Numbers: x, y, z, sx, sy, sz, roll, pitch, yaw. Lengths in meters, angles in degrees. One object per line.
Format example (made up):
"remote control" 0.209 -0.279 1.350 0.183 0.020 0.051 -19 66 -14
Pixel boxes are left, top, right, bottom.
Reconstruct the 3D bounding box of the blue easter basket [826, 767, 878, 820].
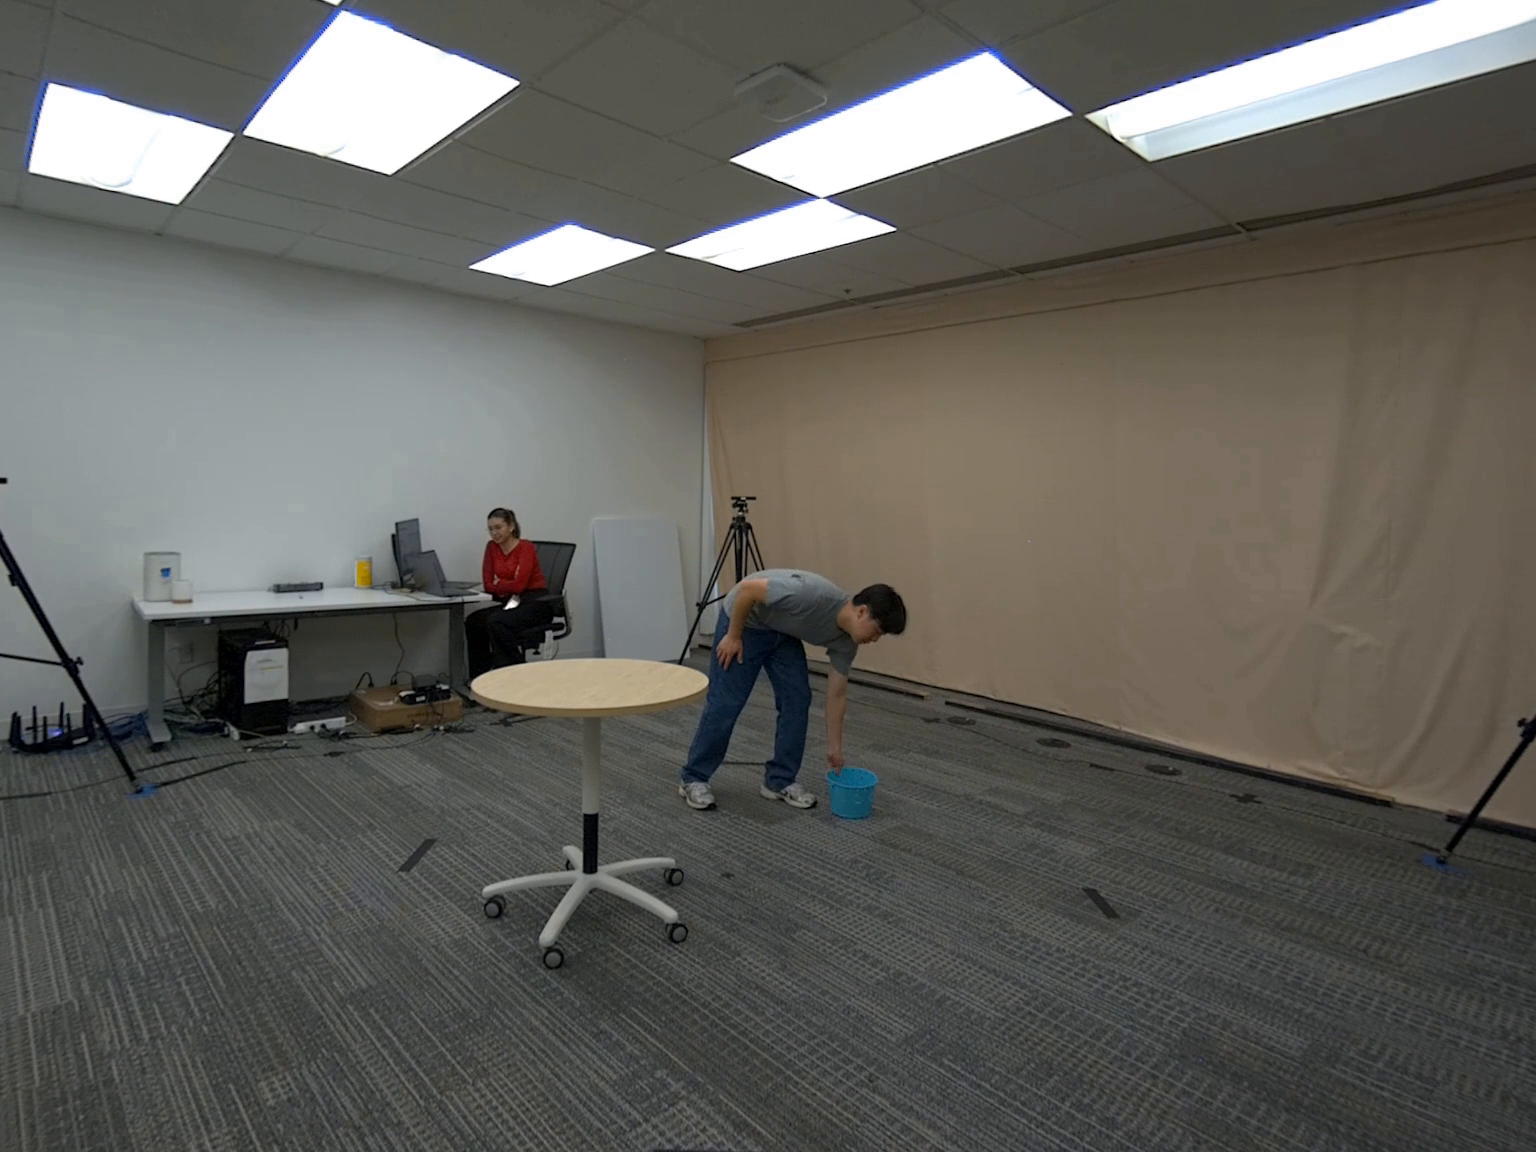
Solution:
"blue easter basket" 0.366 0.939 3.779 0.243 0.155 0.245 2 6 -2
